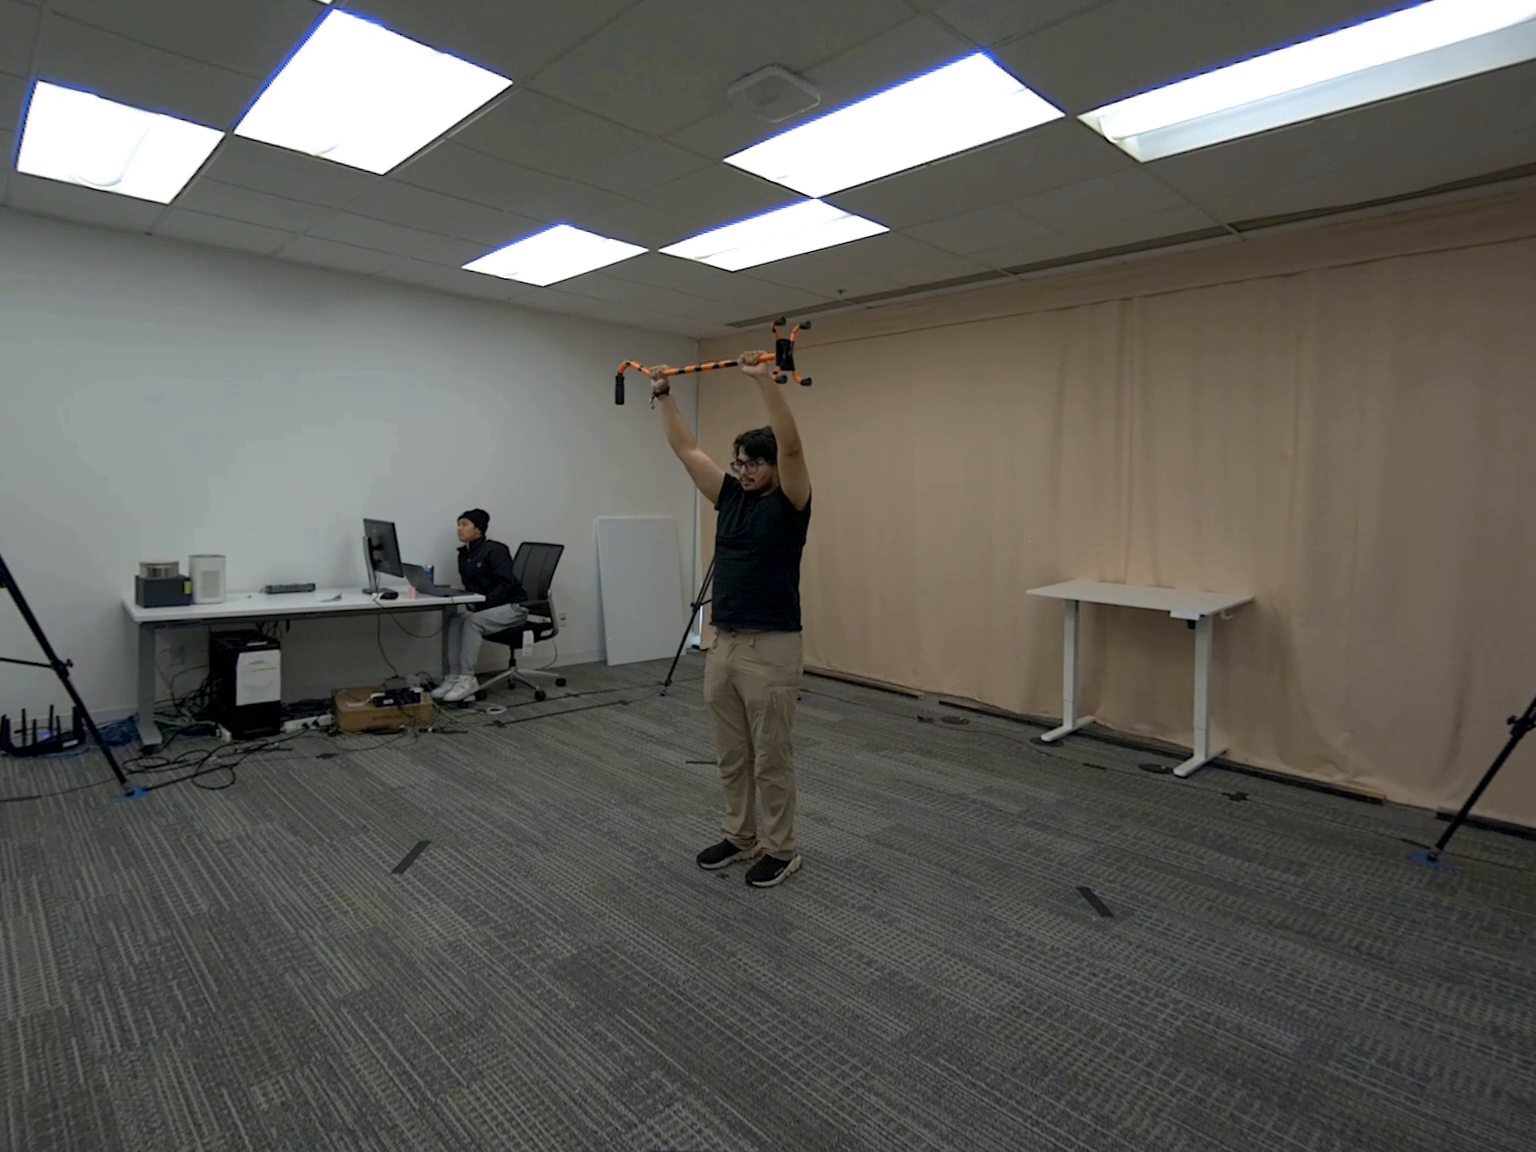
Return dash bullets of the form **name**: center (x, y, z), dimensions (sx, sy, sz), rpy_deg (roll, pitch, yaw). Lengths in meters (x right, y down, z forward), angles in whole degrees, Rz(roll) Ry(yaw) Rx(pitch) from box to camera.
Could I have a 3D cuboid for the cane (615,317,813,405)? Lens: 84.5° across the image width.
- **cane**: center (-0.253, -0.726, 2.929), dimensions (0.931, 0.206, 0.148), rpy_deg (5, 6, 43)
